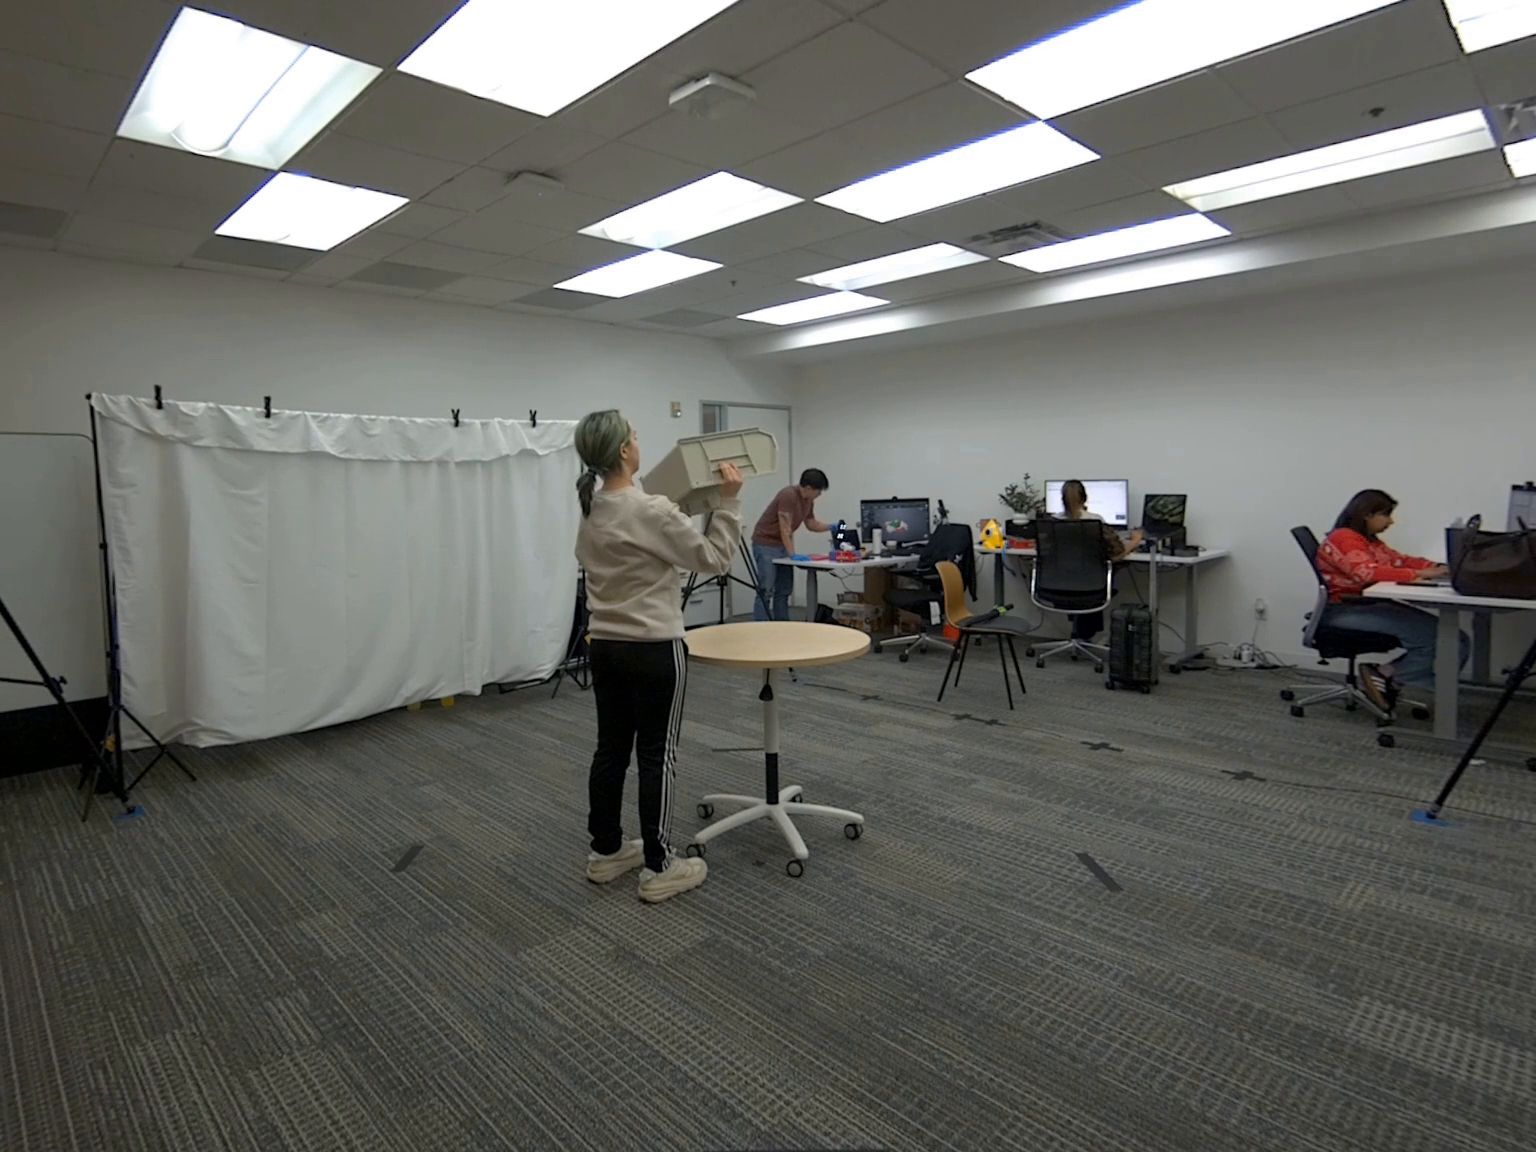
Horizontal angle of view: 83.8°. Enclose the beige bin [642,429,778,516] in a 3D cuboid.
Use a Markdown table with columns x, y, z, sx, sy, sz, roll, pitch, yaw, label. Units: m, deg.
| x | y | z | sx | sy | sz | roll | pitch | yaw | label |
| --- | --- | --- | --- | --- | --- | --- | --- | --- | --- |
| -0.211 | -0.356 | 3.087 | 0.370 | 0.190 | 0.427 | -14 | -6 | -29 | beige bin |
